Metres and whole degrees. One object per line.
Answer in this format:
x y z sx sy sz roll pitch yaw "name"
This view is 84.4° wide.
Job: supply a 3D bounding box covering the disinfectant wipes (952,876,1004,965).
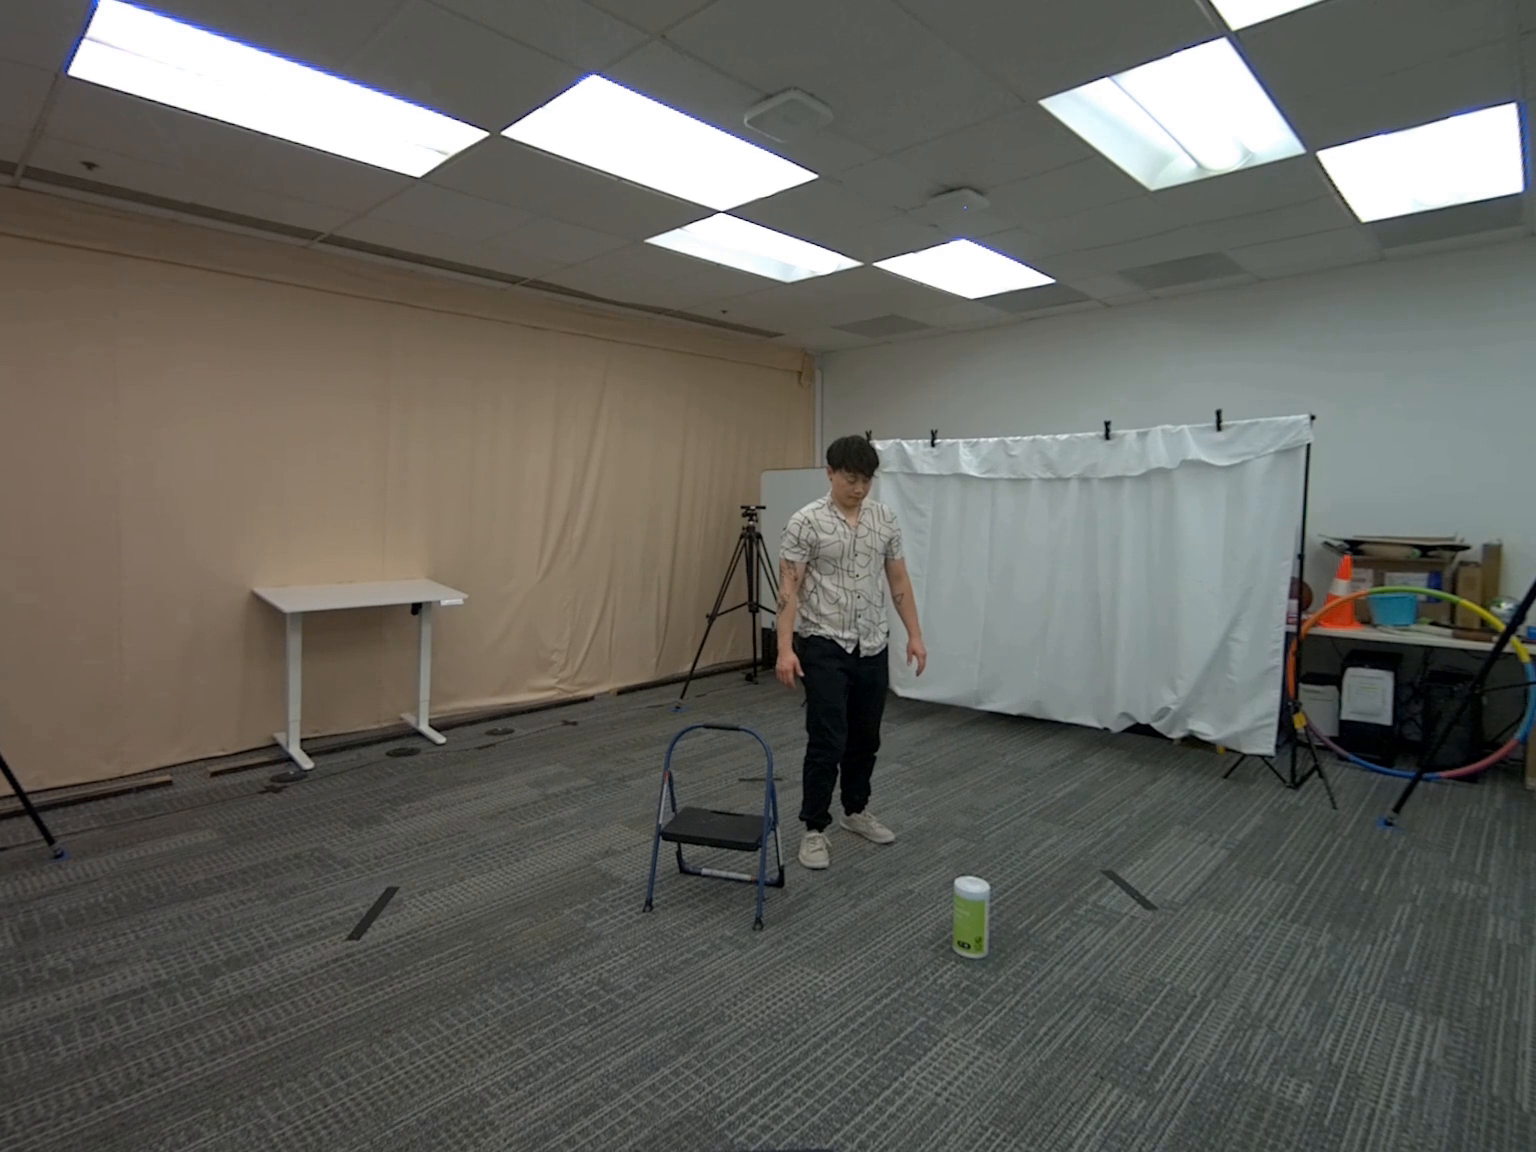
0.647 1.062 2.622 0.118 0.217 0.118 1 2 -2 "disinfectant wipes"
